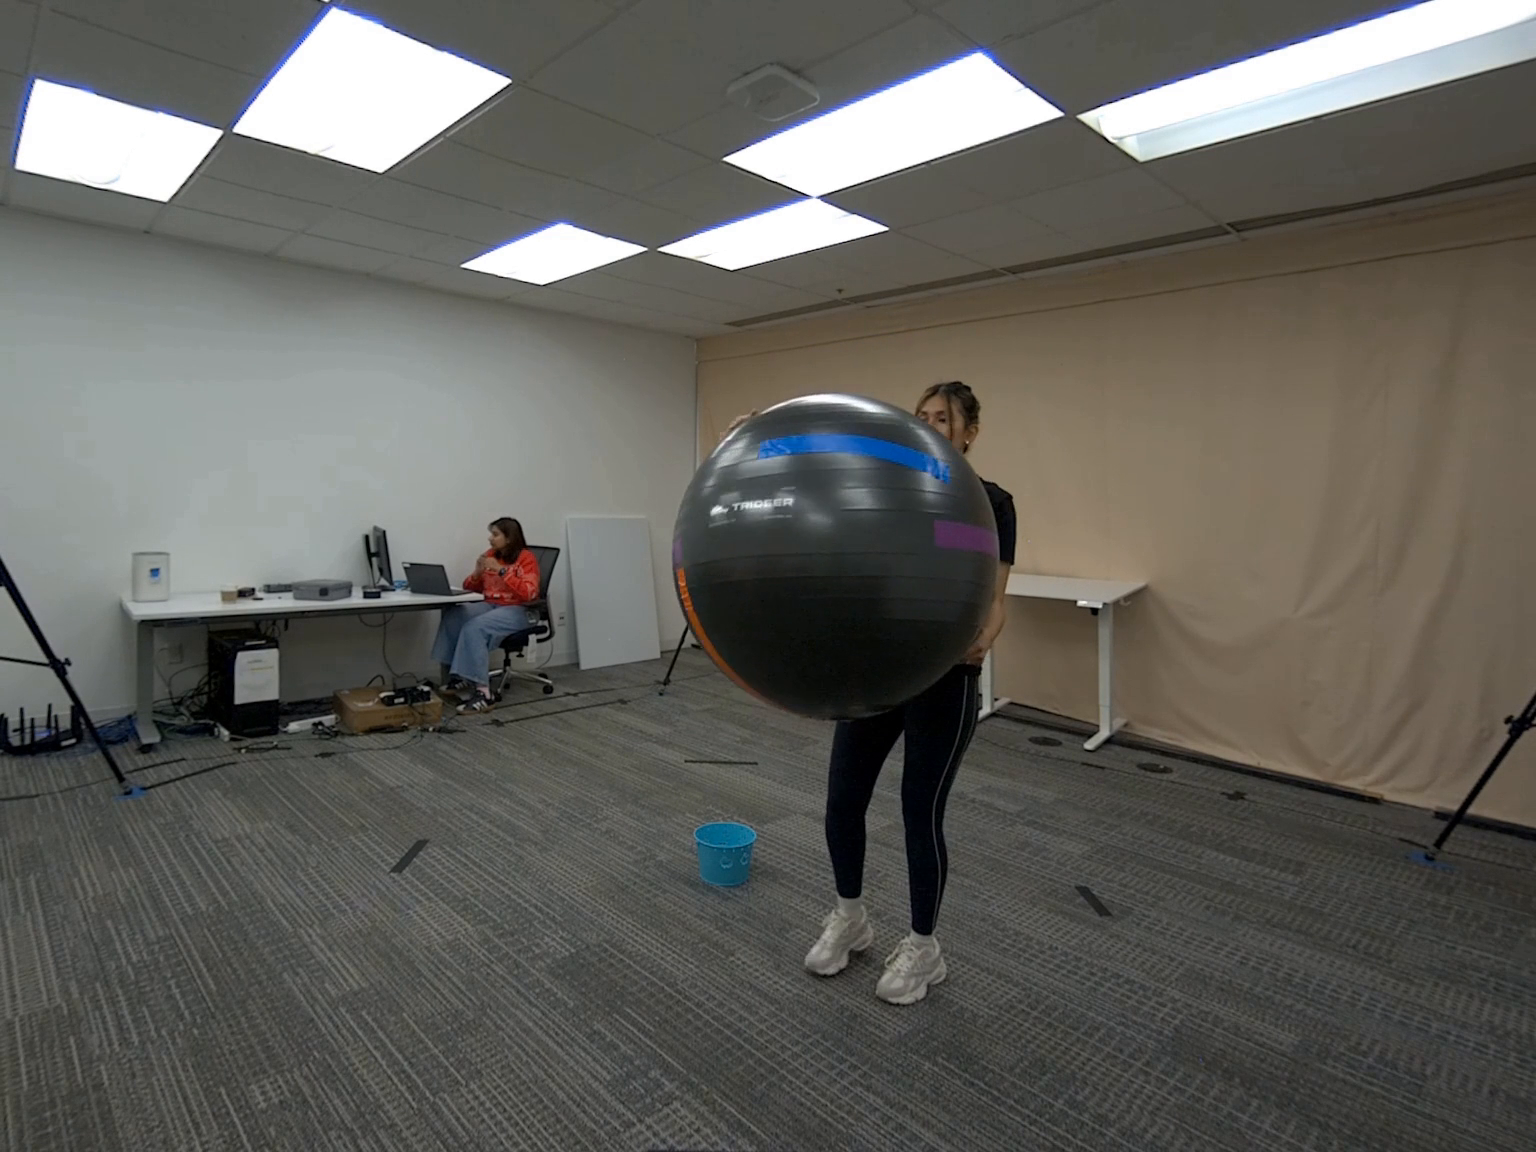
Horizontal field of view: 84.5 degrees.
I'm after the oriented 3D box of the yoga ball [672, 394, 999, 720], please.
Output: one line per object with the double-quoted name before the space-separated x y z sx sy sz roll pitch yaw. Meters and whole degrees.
"yoga ball" 0.149 -0.040 1.973 0.757 0.756 0.761 1 4 -1
